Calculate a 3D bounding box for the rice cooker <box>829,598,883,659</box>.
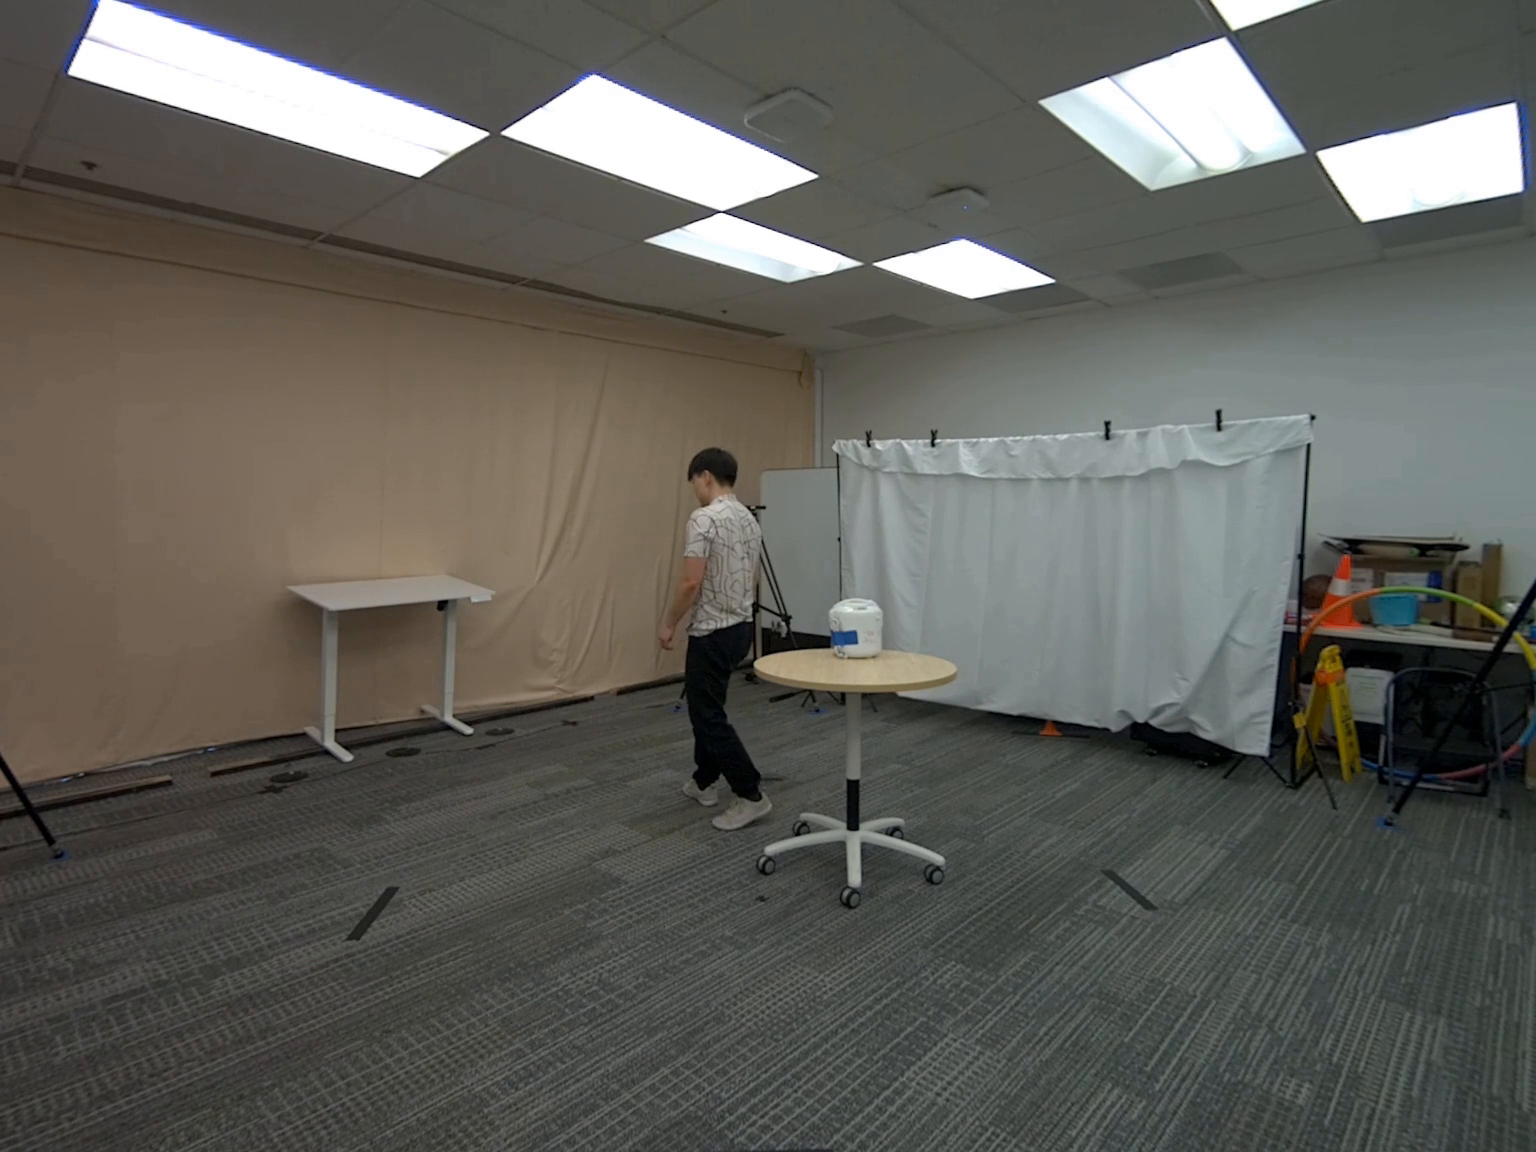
[{"bbox_3d":[0.362,0.207,3.436,0.221,0.232,0.217,0,3,2],"label":"rice cooker"}]
